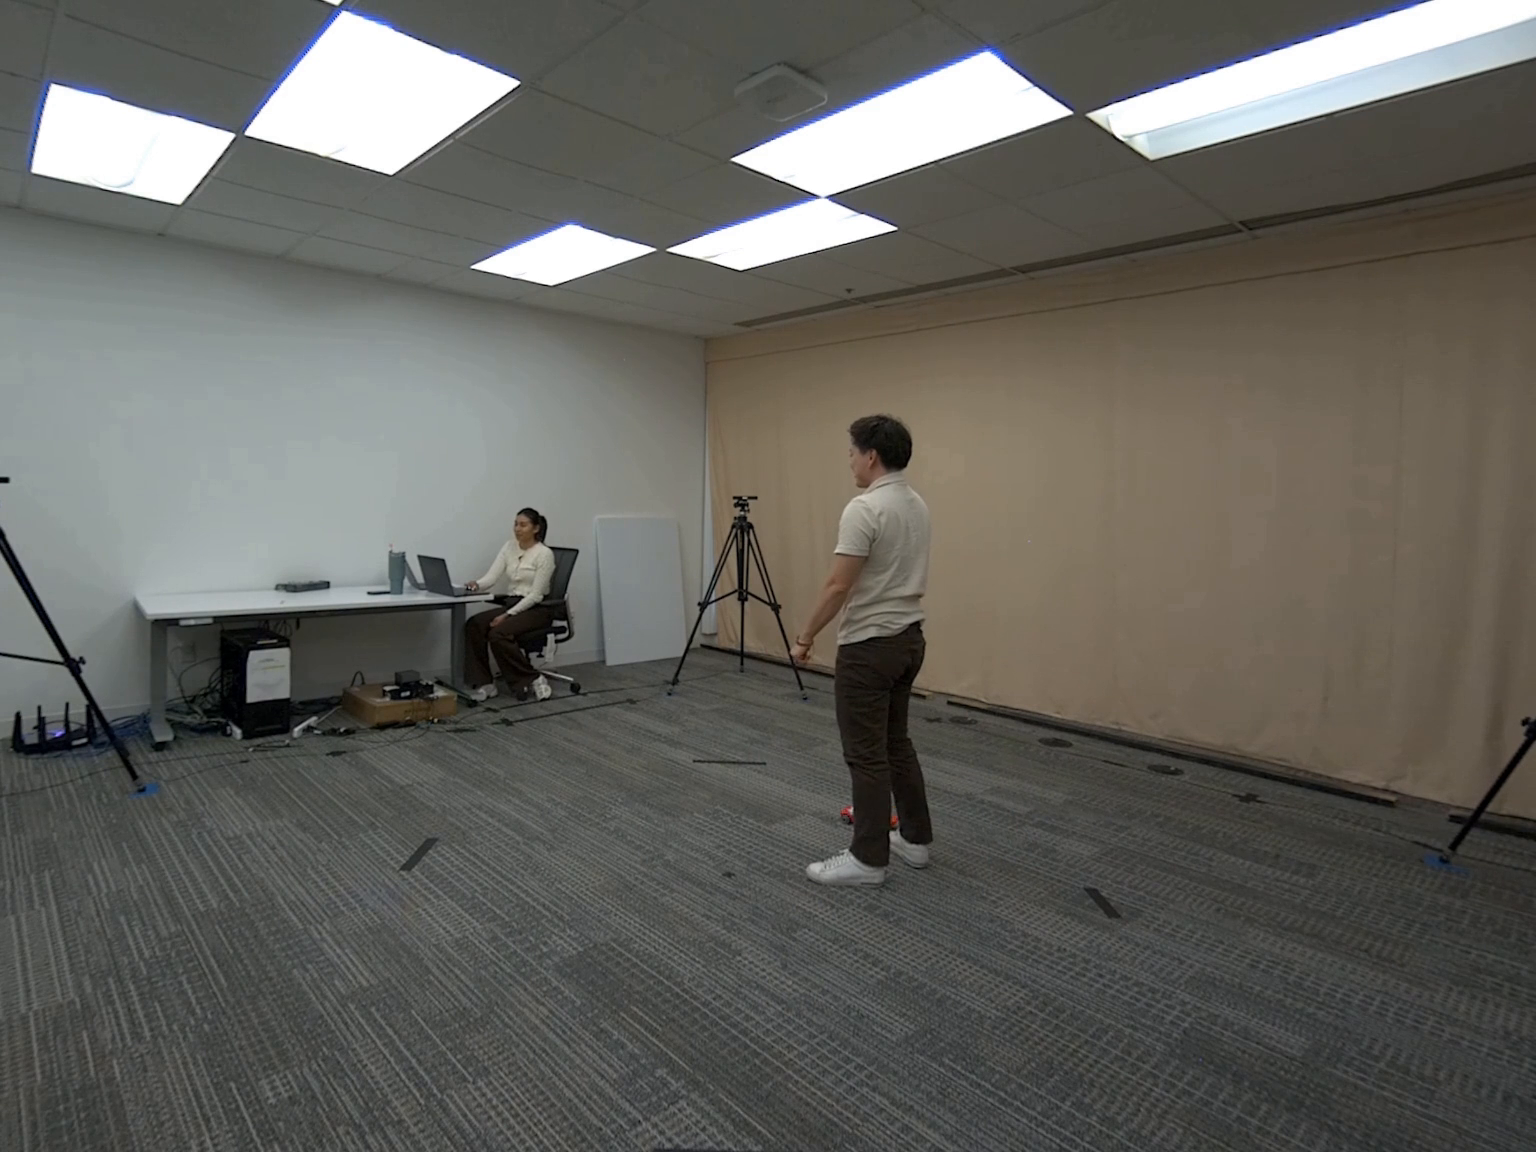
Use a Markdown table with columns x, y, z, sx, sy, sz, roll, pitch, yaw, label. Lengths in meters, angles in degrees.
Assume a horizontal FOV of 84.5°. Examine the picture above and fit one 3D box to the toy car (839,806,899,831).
| x | y | z | sx | sy | sz | roll | pitch | yaw | label |
| --- | --- | --- | --- | --- | --- | --- | --- | --- | --- |
| 0.438 | 1.045 | 3.626 | 0.259 | 0.083 | 0.128 | -7 | -1 | 31 | toy car |
